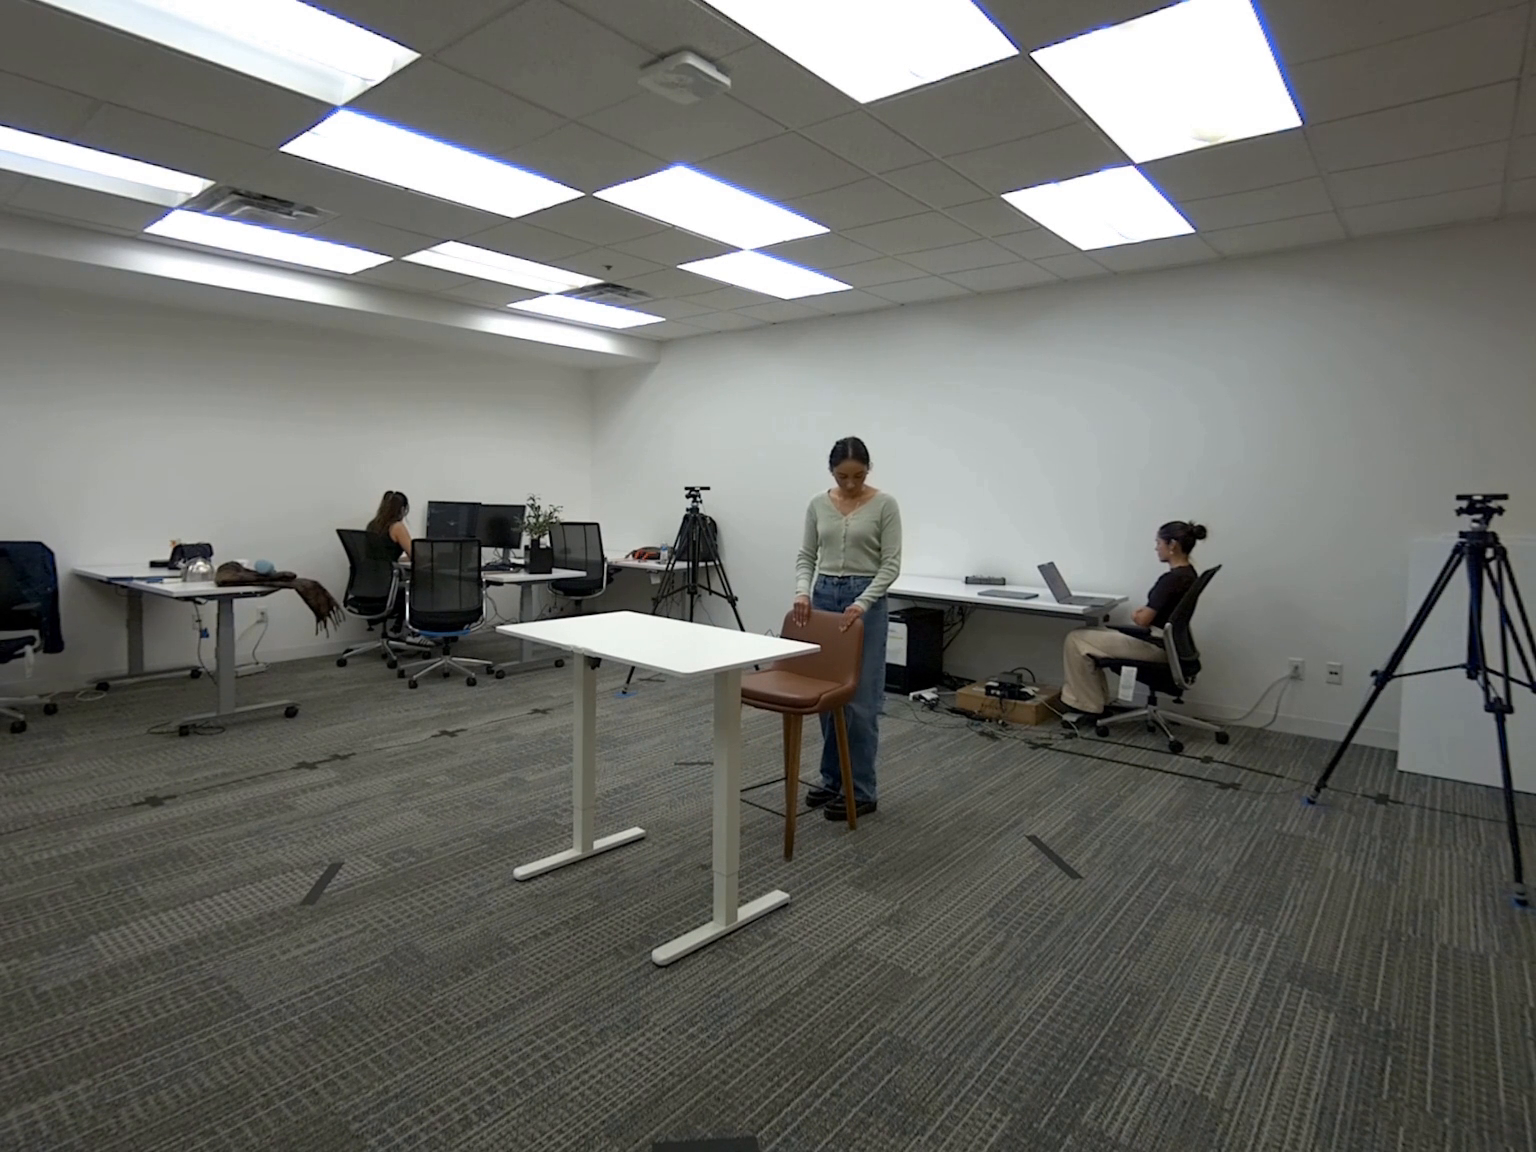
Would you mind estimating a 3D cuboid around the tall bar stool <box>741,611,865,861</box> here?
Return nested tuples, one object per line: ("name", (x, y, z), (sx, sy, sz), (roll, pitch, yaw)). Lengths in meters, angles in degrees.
("tall bar stool", (0.091, 0.592, 3.464), (0.472, 0.888, 0.453), (4, 3, 45))
